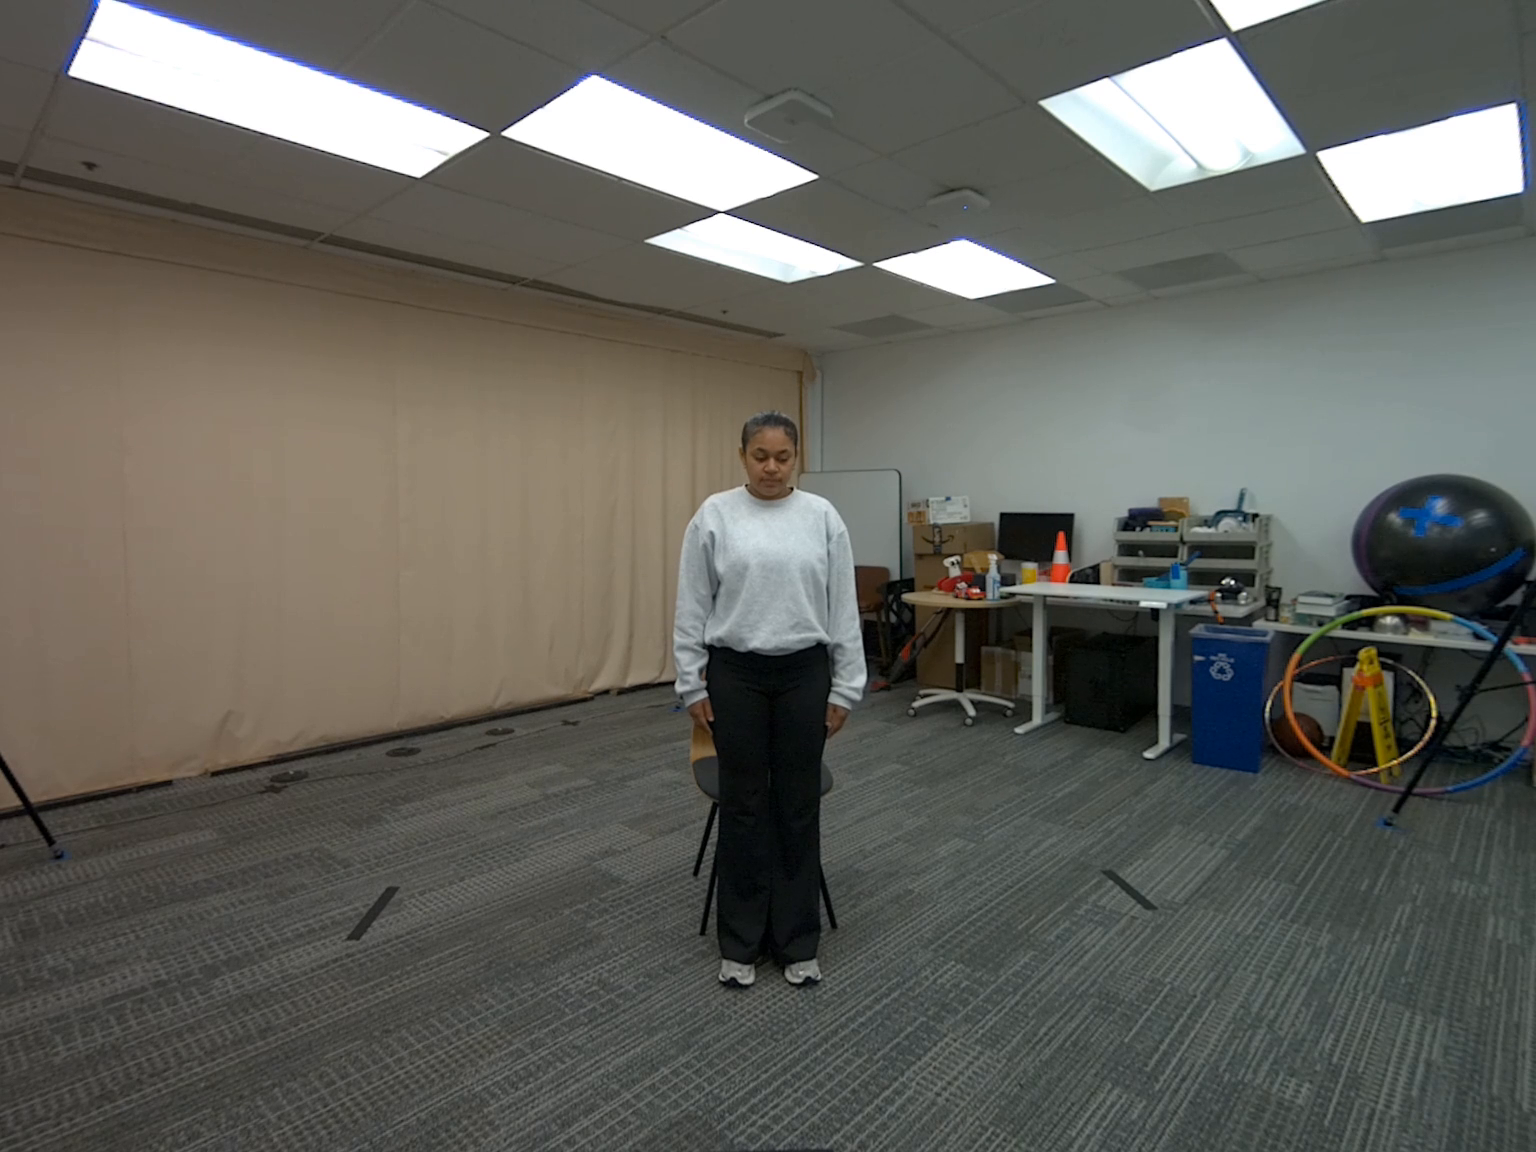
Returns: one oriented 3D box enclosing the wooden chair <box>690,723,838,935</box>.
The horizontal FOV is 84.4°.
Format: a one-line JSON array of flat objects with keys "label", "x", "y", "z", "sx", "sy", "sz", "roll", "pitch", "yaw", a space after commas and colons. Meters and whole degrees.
[{"label": "wooden chair", "x": -0.021, "y": 0.717, "z": 2.934, "sx": 0.475, "sy": 0.878, "sz": 0.526, "roll": 0, "pitch": -1, "yaw": -7}]
